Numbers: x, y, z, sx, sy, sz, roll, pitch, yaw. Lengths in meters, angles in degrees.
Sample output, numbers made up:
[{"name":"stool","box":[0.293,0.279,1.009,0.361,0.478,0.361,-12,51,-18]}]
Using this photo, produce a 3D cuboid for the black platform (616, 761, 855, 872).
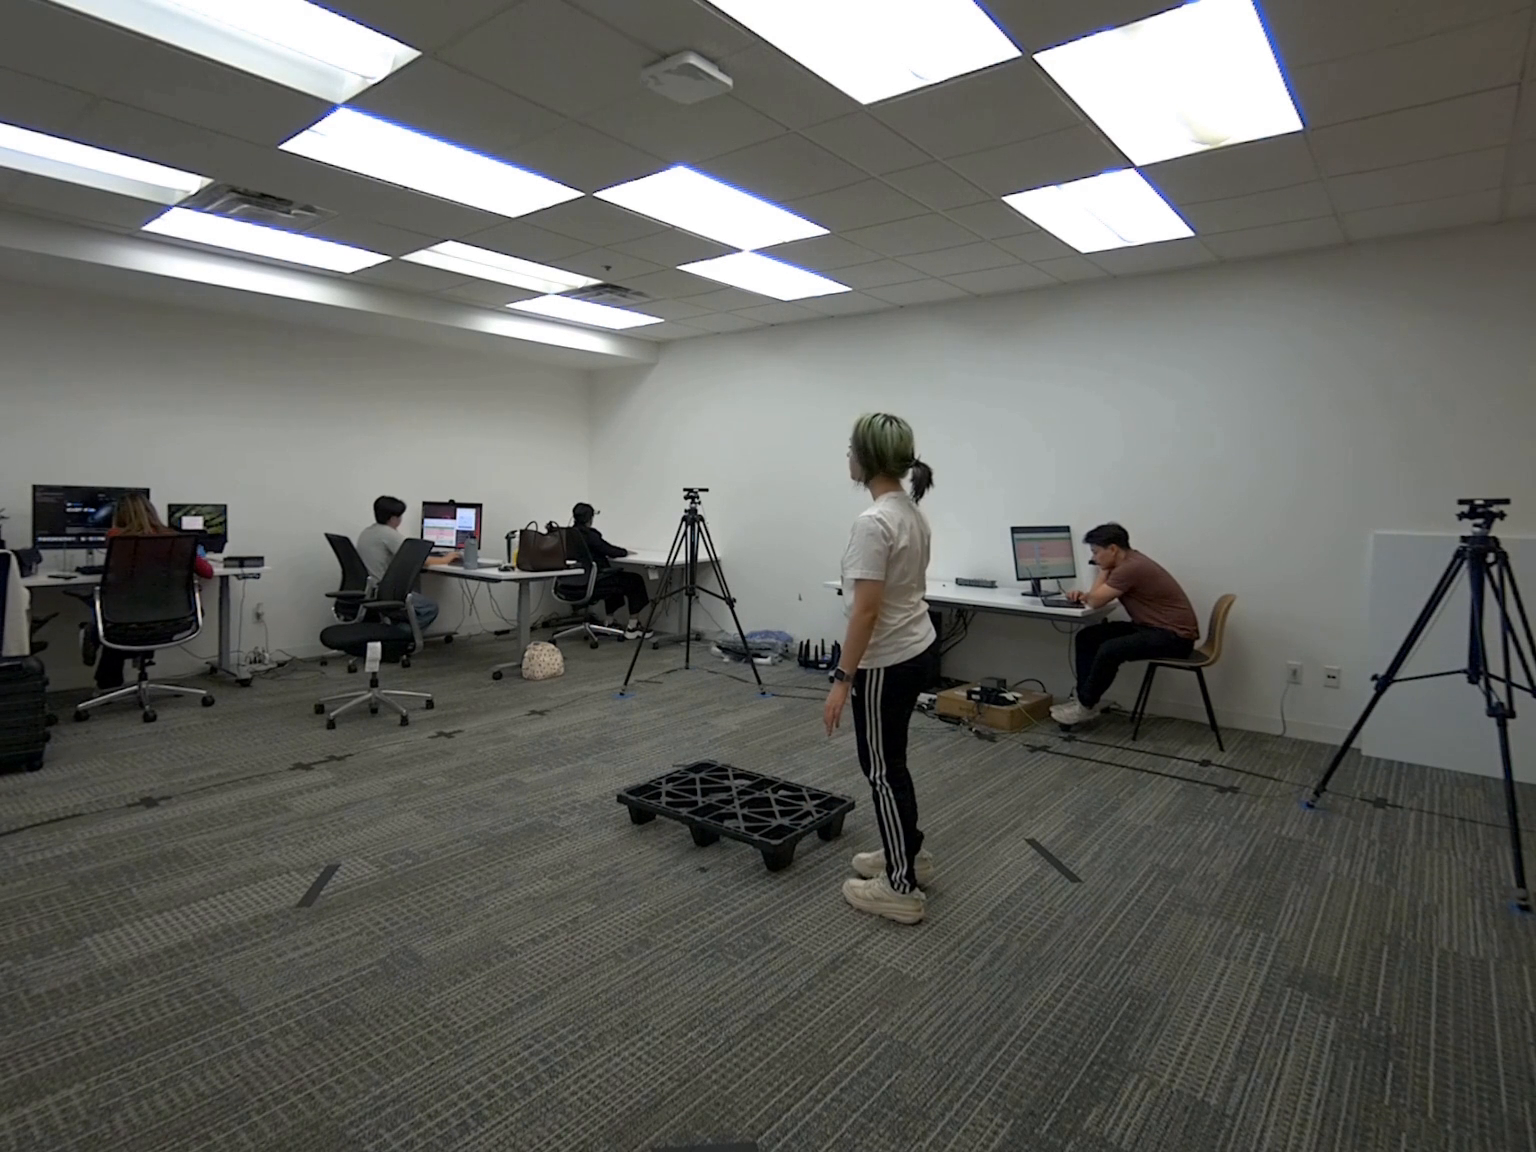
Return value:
[{"name":"black platform","box":[-0.142,0.967,3.490,0.832,0.143,0.588,5,7,36]}]
